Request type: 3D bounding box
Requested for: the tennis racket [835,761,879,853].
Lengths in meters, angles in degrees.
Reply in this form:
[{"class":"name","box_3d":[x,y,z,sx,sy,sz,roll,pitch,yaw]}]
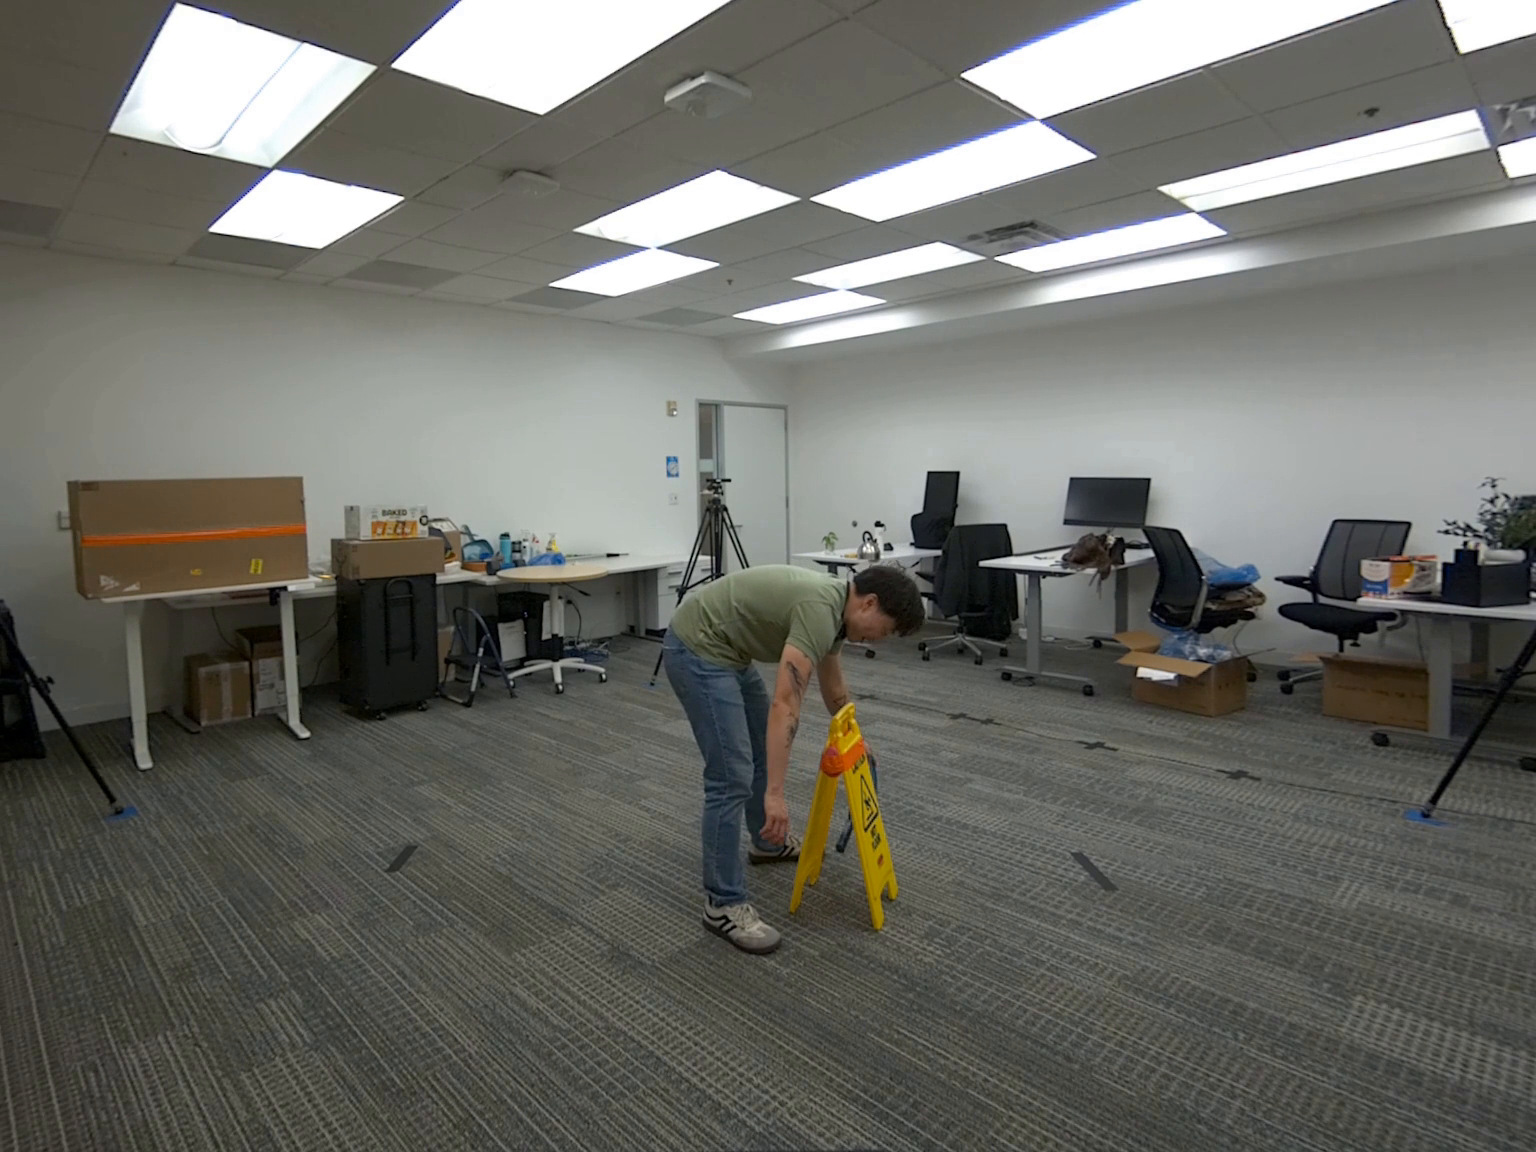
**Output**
[{"class":"tennis racket","box_3d":[0.316,0.818,2.989,0.032,0.209,0.436,-9,25,21]}]
